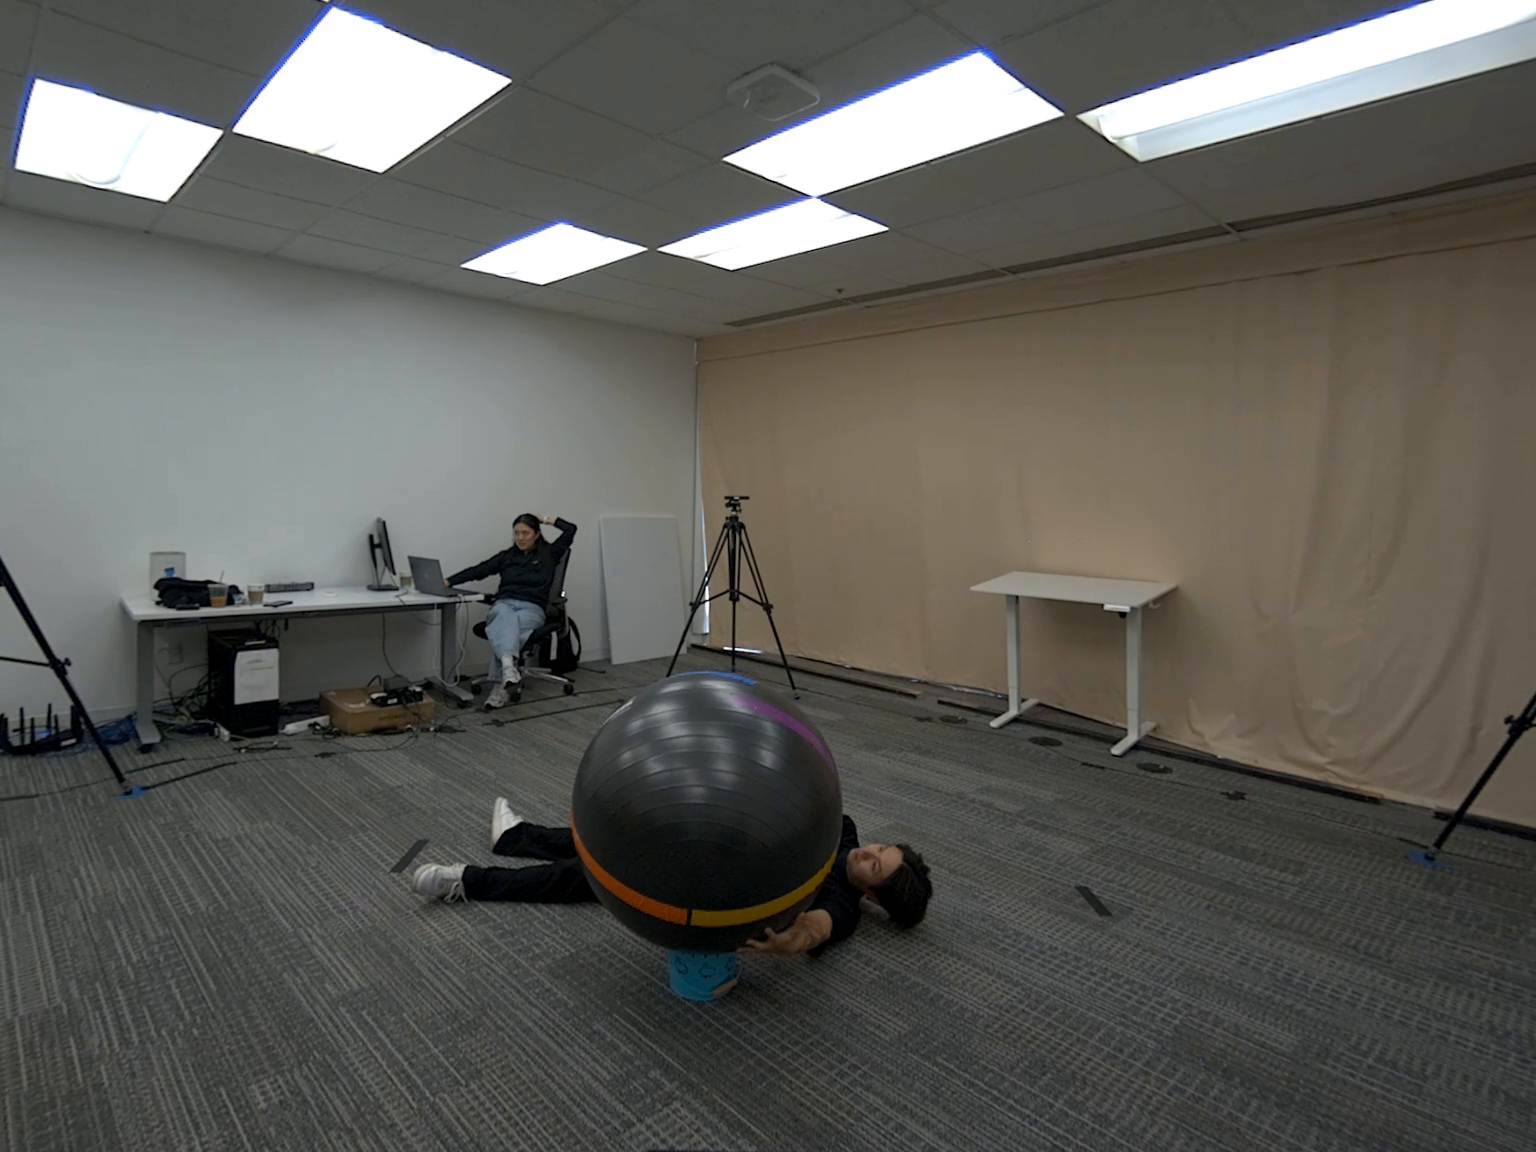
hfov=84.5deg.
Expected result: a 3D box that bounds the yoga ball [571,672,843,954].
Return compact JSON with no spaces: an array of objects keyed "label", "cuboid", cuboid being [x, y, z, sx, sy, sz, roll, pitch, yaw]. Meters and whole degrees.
[{"label":"yoga ball","cuboid":[-0.174,0.659,2.388,0.757,0.756,0.761,1,4,-1]}]
